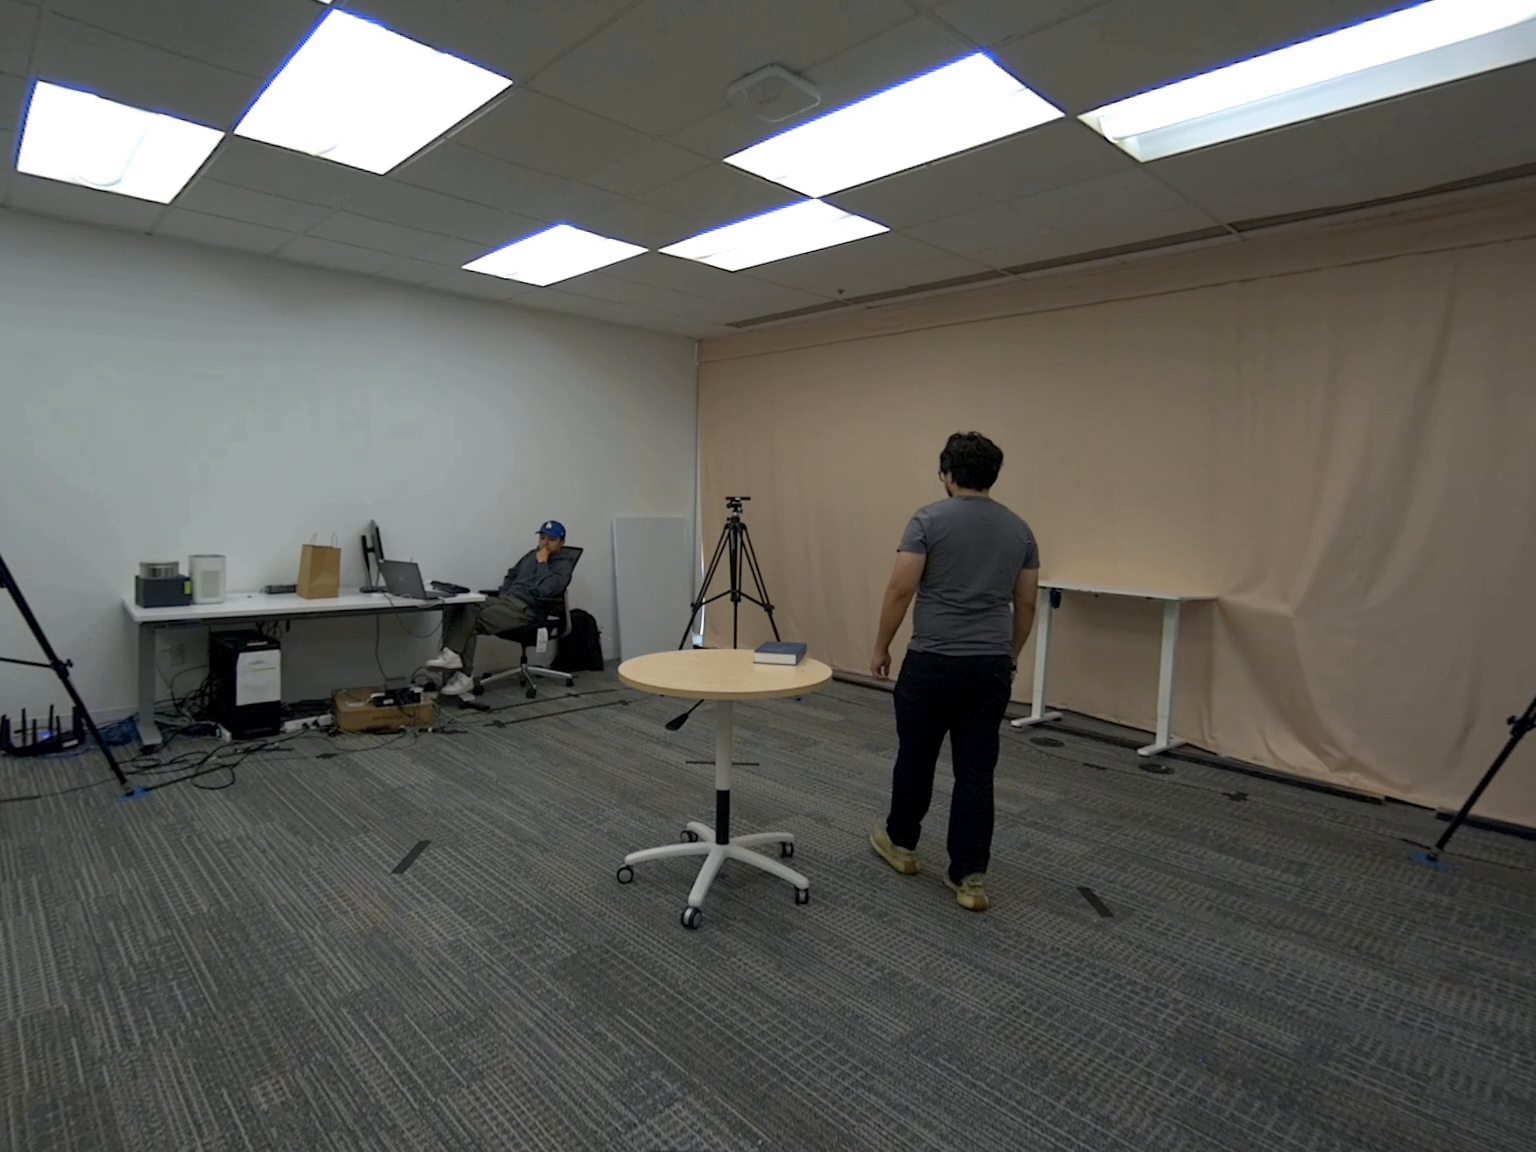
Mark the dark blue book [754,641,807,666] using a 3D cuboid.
[{"bbox_3d":[0.041,0.293,3.215,0.165,0.045,0.243,1,5,12],"label":"dark blue book"}]
